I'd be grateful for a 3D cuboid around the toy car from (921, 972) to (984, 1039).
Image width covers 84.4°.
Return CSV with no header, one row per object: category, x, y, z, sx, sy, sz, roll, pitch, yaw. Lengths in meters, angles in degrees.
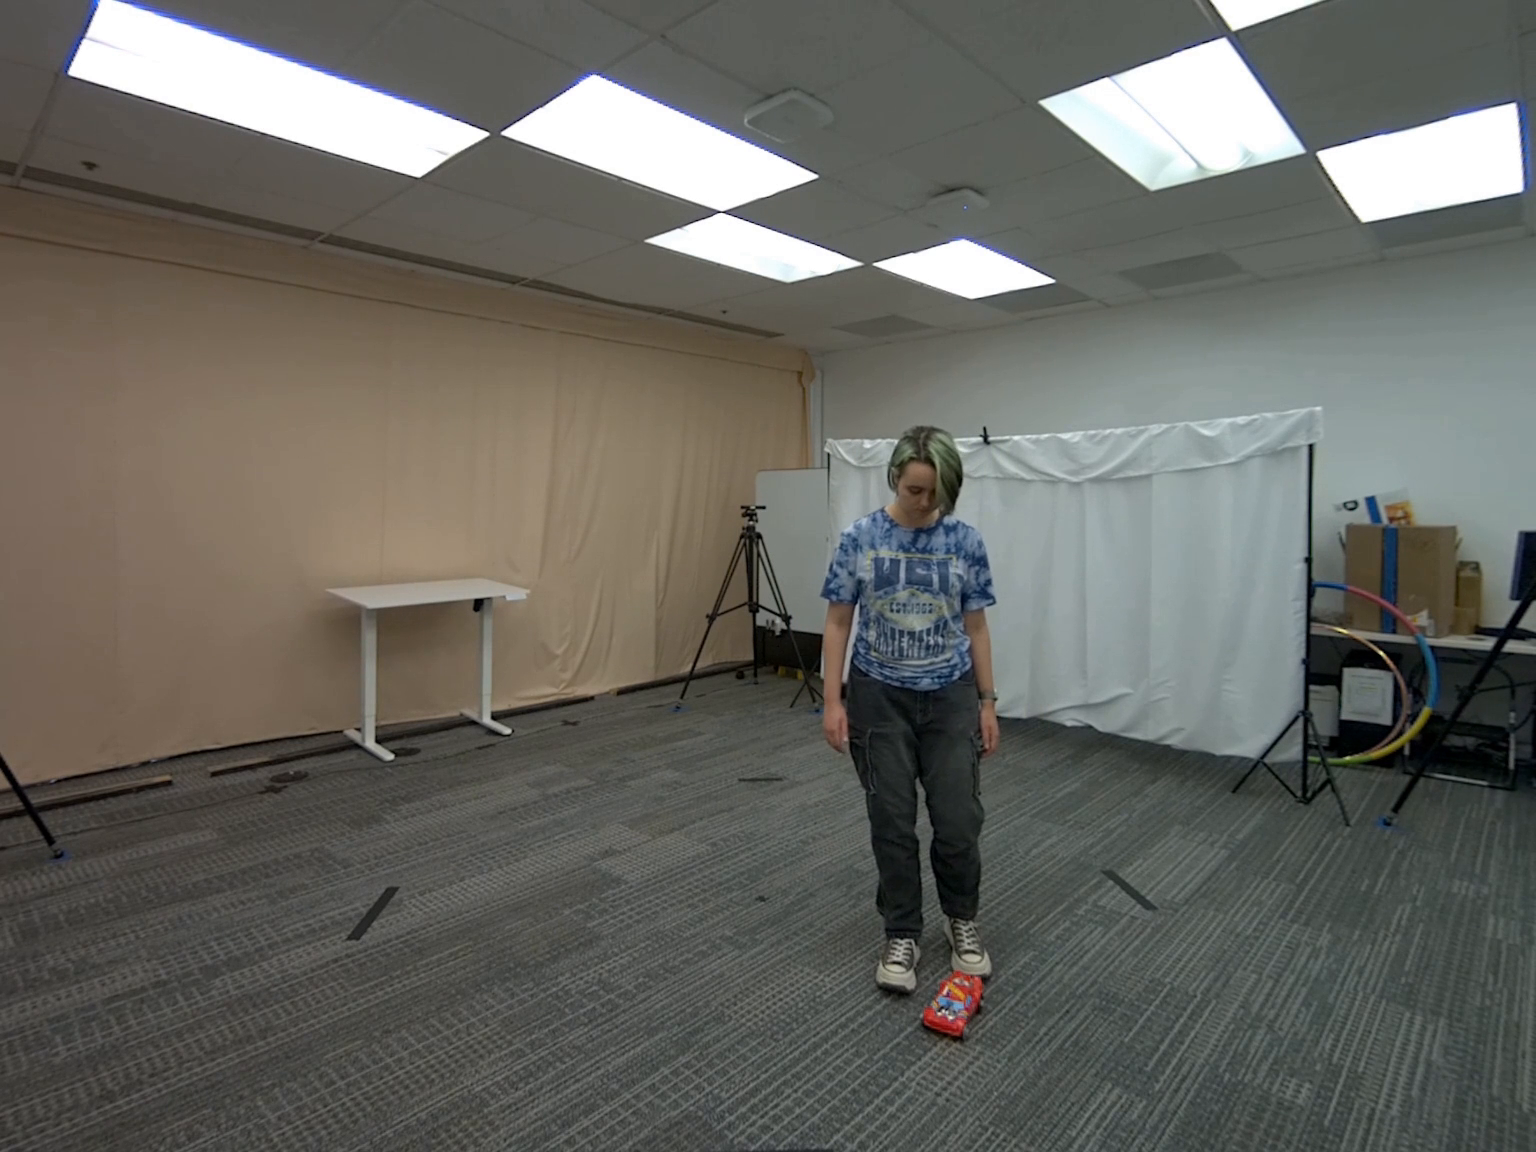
toy car,0.518,1.166,2.299,0.134,0.082,0.250,3,16,30
